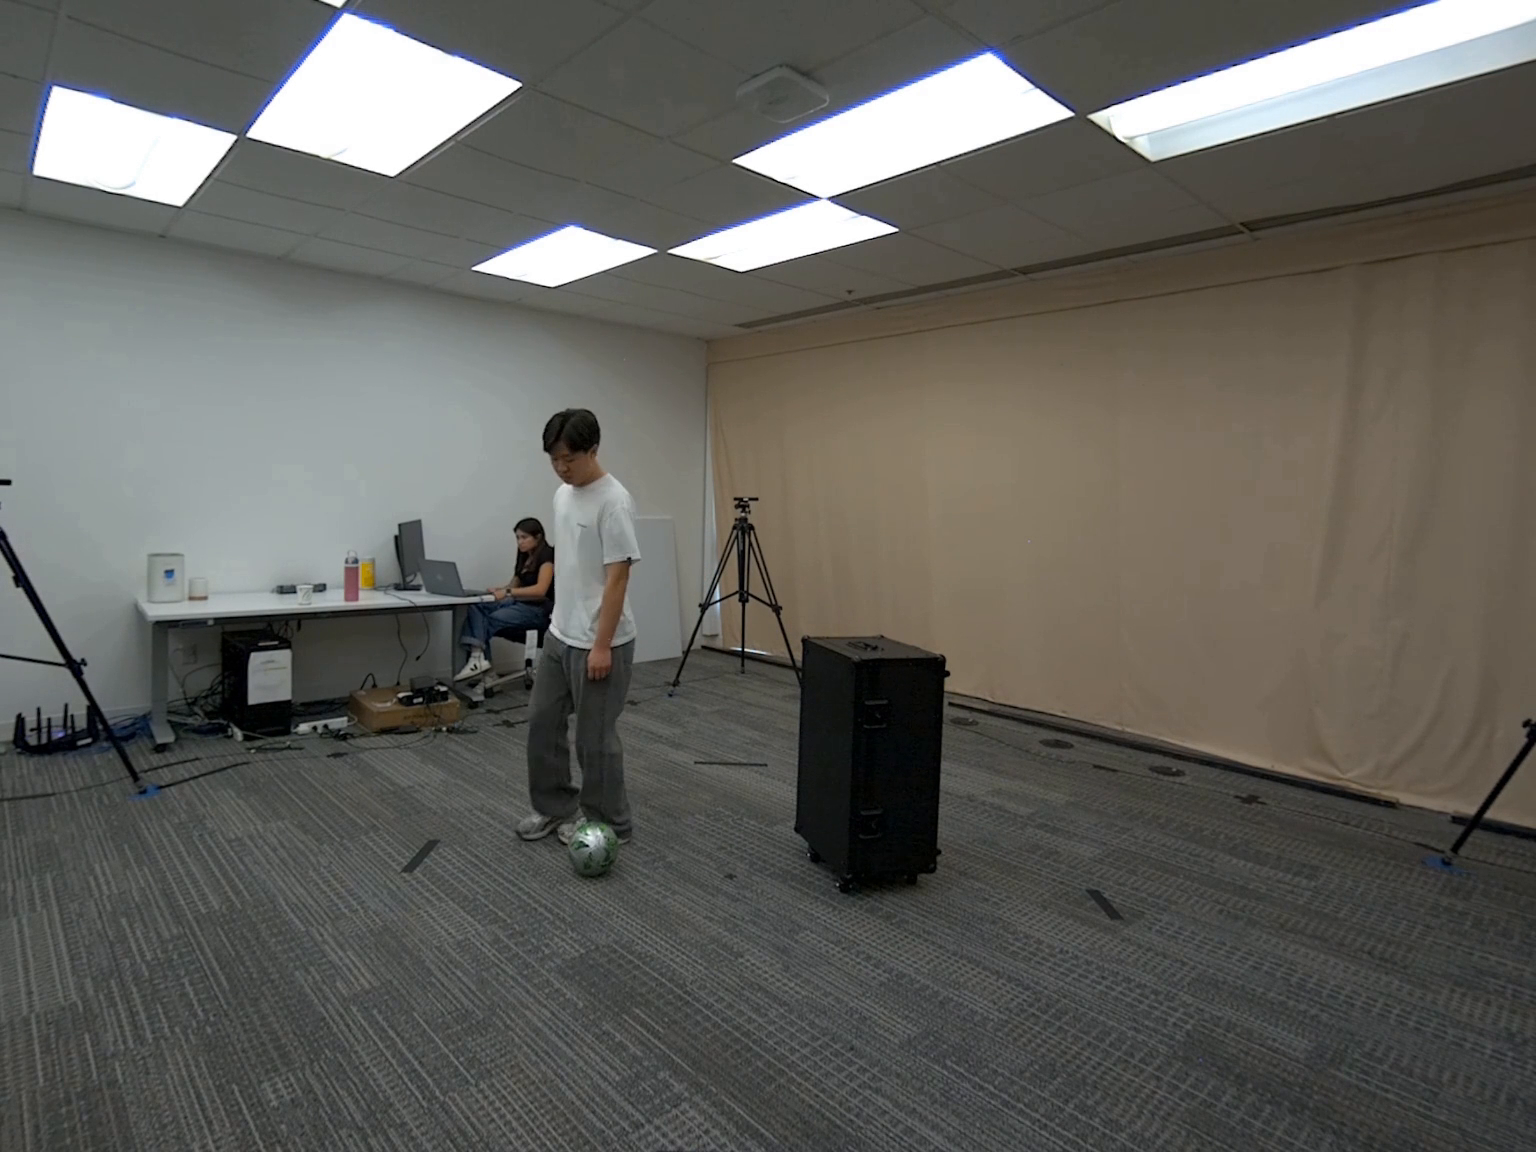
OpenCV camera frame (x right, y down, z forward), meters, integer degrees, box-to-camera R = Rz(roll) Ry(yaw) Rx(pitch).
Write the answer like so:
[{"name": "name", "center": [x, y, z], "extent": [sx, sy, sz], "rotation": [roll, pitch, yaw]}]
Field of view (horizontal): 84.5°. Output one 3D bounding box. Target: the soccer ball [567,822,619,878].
[{"name": "soccer ball", "center": [-0.645, 1.003, 3.099], "extent": [0.187, 0.187, 0.188], "rotation": [1, 4, -1]}]
